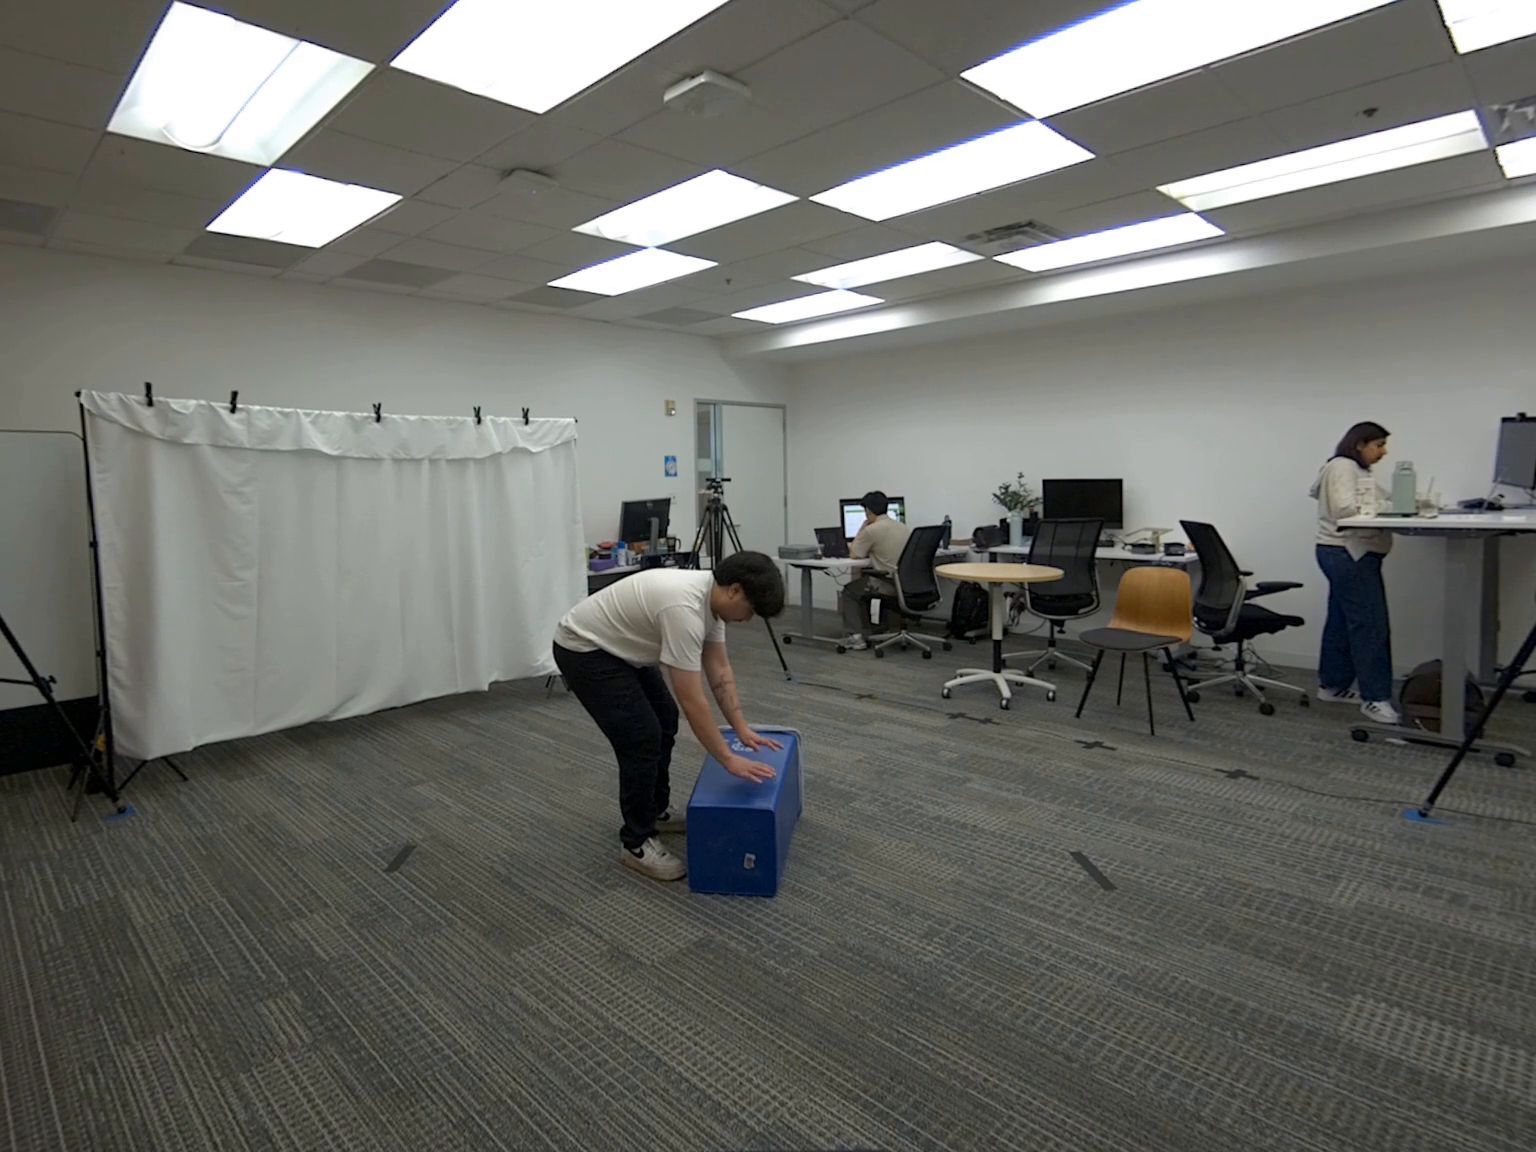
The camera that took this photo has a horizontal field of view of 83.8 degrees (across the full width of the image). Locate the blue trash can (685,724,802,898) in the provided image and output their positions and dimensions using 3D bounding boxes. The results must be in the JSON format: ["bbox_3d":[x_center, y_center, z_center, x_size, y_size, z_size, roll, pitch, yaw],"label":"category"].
[{"bbox_3d":[-0.076,0.863,3.202,0.377,0.375,0.714,0,9,6],"label":"blue trash can"}]
